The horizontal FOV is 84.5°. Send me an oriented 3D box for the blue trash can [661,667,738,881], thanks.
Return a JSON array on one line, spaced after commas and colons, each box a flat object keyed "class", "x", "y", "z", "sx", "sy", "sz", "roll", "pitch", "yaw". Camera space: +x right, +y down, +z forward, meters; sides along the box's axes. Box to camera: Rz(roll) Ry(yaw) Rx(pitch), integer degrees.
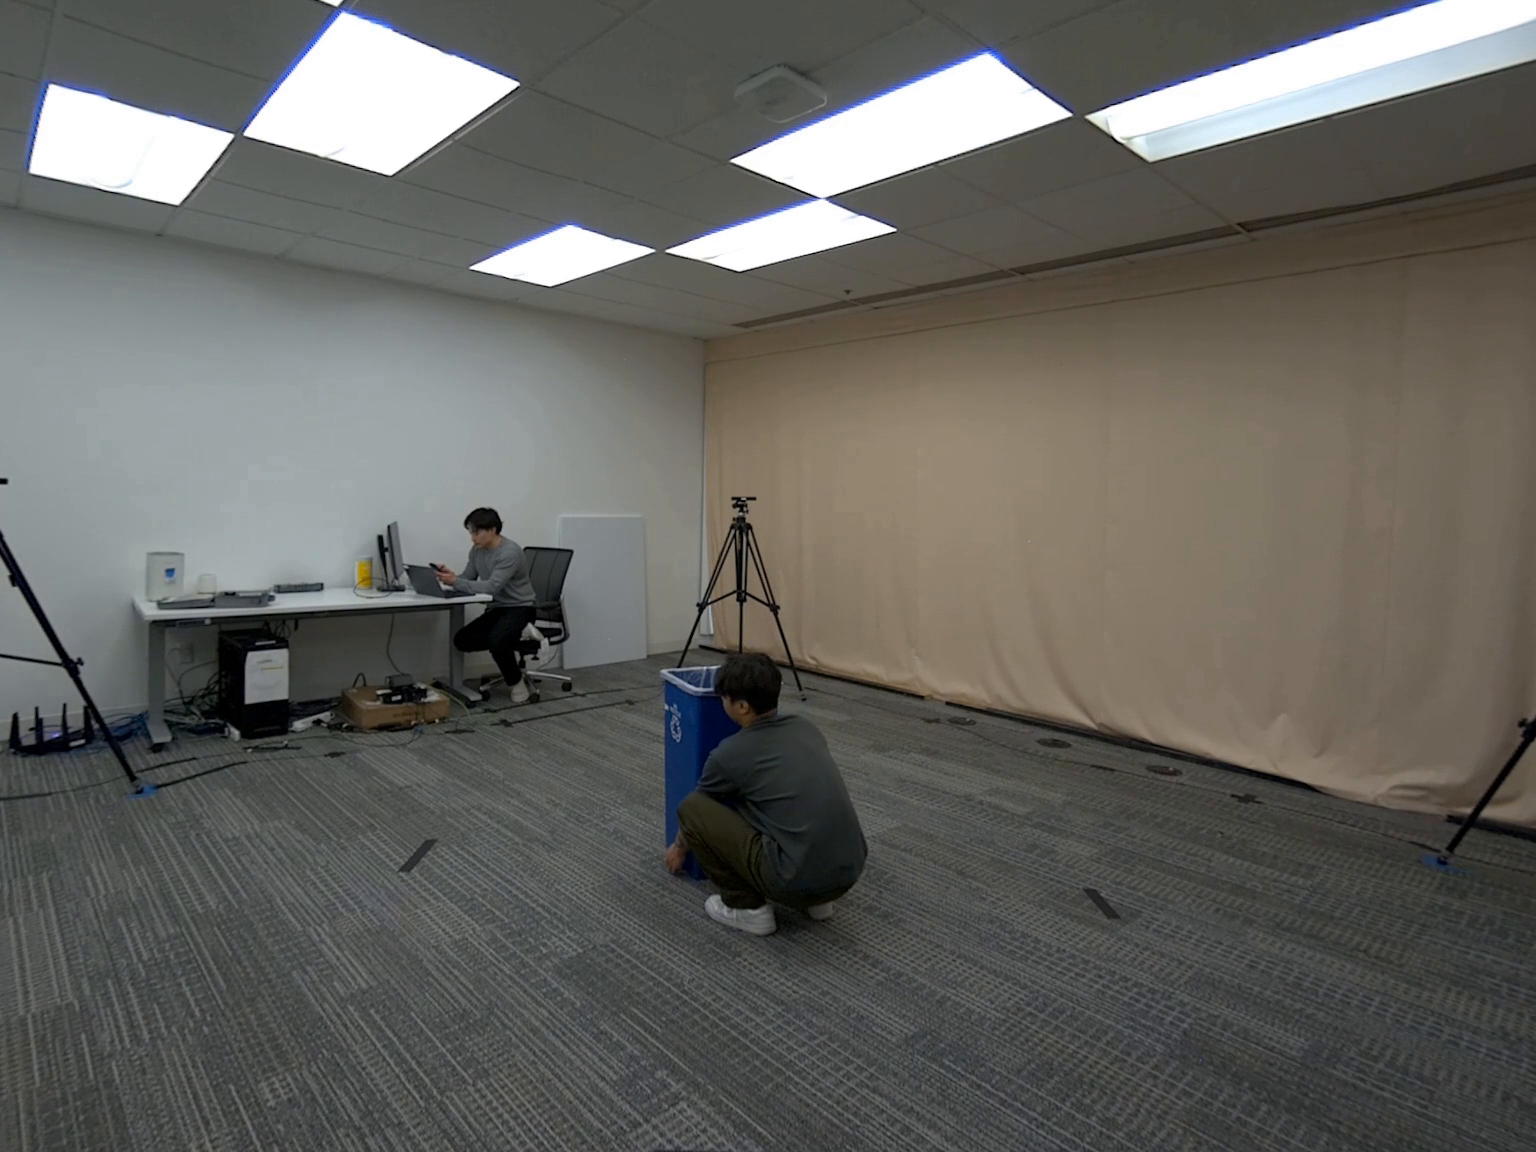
[{"class": "blue trash can", "x": -0.205, "y": 0.735, "z": 3.230, "sx": 0.367, "sy": 0.712, "sz": 0.386, "roll": 0, "pitch": 4, "yaw": -28}]
